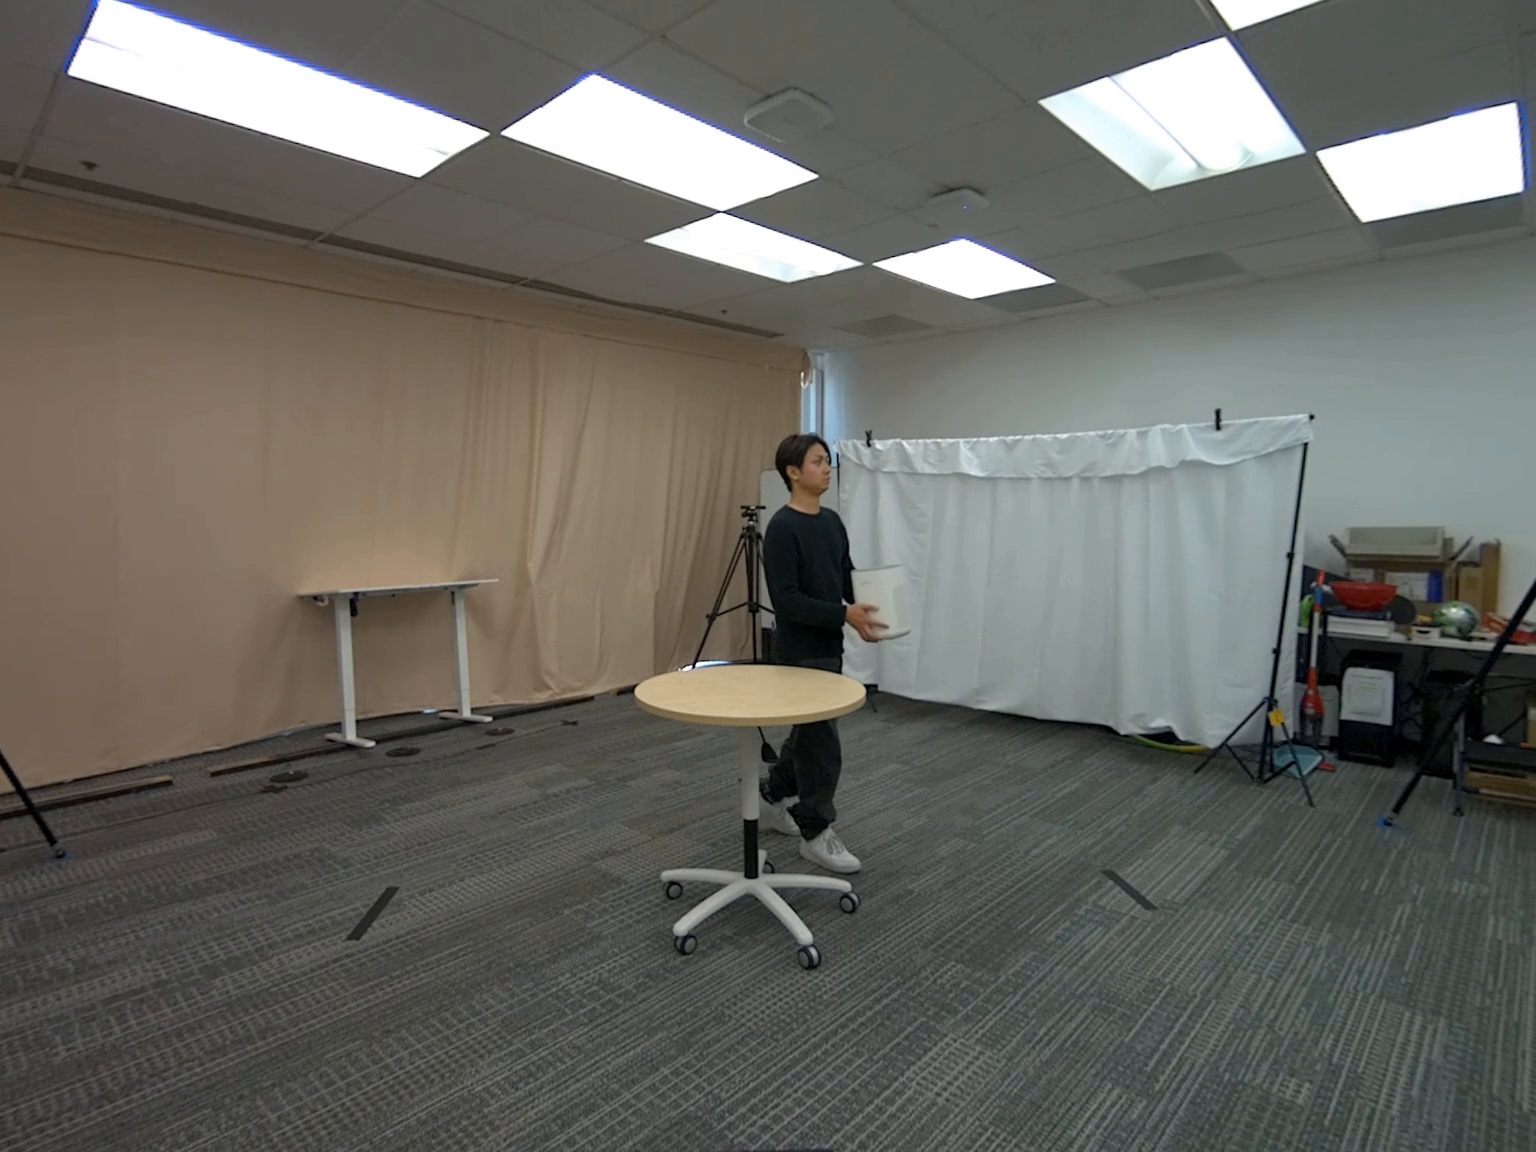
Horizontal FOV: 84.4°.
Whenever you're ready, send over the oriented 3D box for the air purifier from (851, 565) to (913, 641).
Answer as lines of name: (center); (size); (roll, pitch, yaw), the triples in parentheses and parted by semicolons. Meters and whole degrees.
air purifier: (0.435, 0.099, 3.146); (0.176, 0.265, 0.167); (-6, 1, 38)
